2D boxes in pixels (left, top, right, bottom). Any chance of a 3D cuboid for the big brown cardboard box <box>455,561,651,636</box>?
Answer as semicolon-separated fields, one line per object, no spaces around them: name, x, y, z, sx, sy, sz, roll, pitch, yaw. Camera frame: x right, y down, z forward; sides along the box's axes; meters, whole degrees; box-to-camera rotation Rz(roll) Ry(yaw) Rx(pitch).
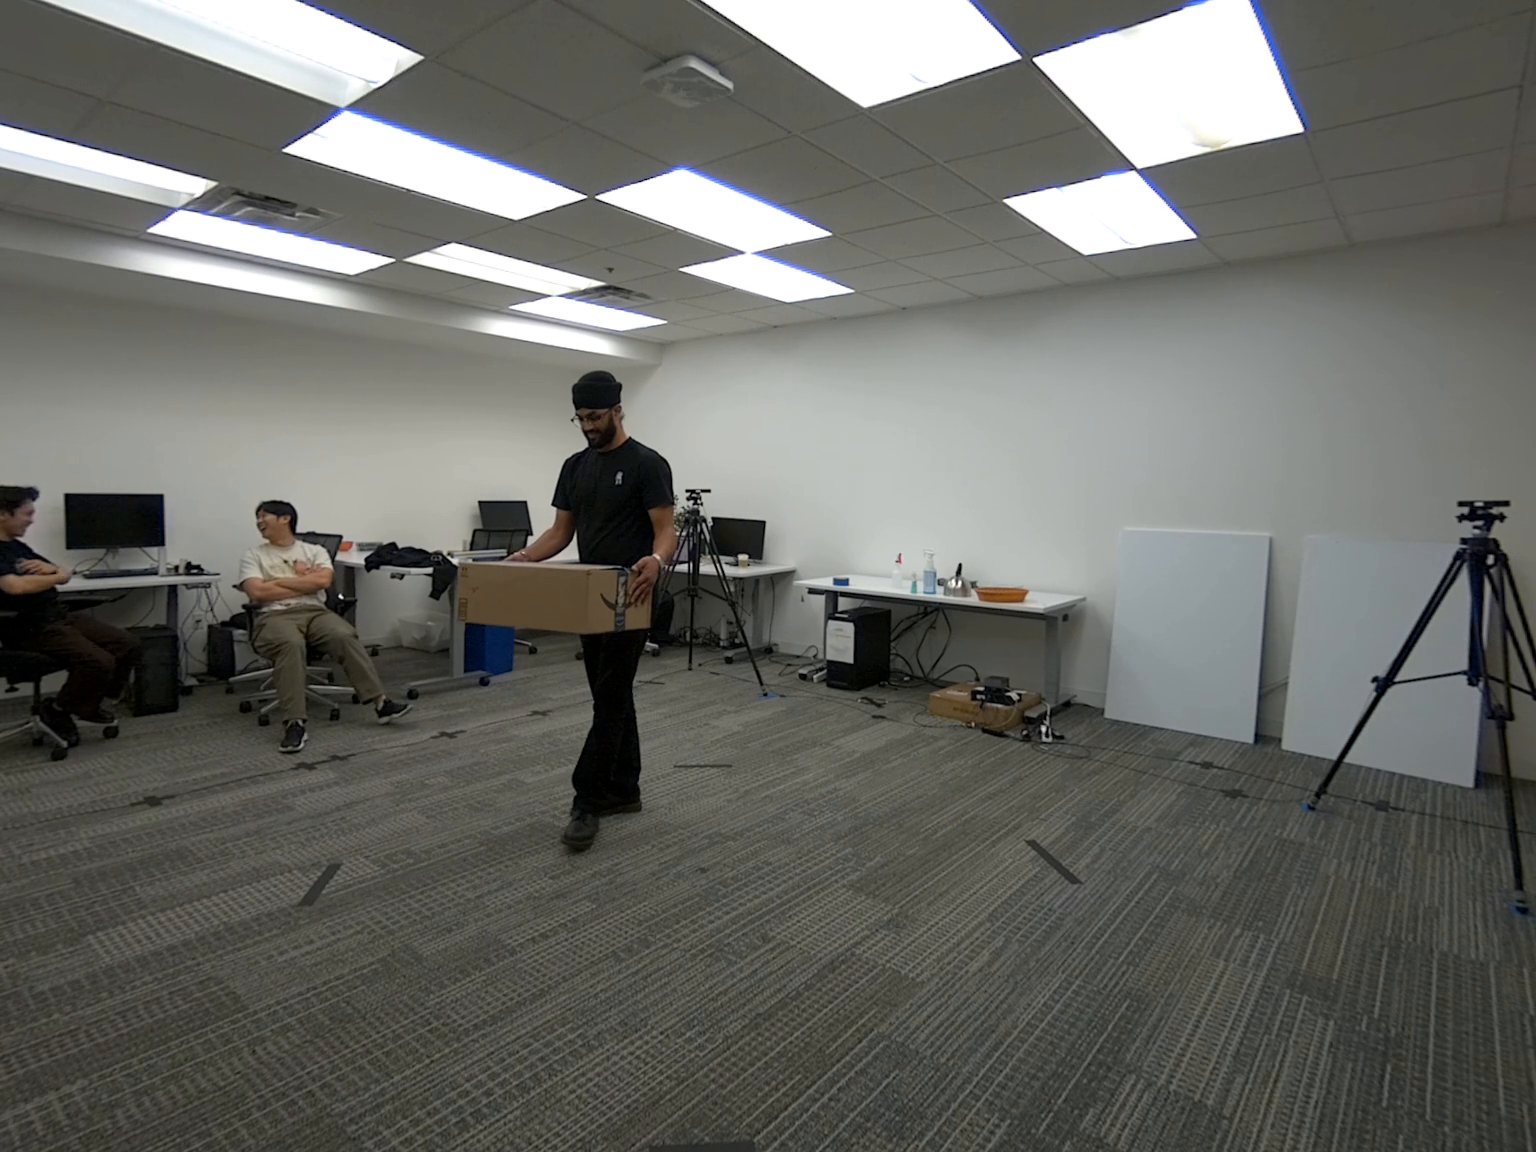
big brown cardboard box;-0.782;0.065;3.100;0.604;0.233;0.407;3;1;25
